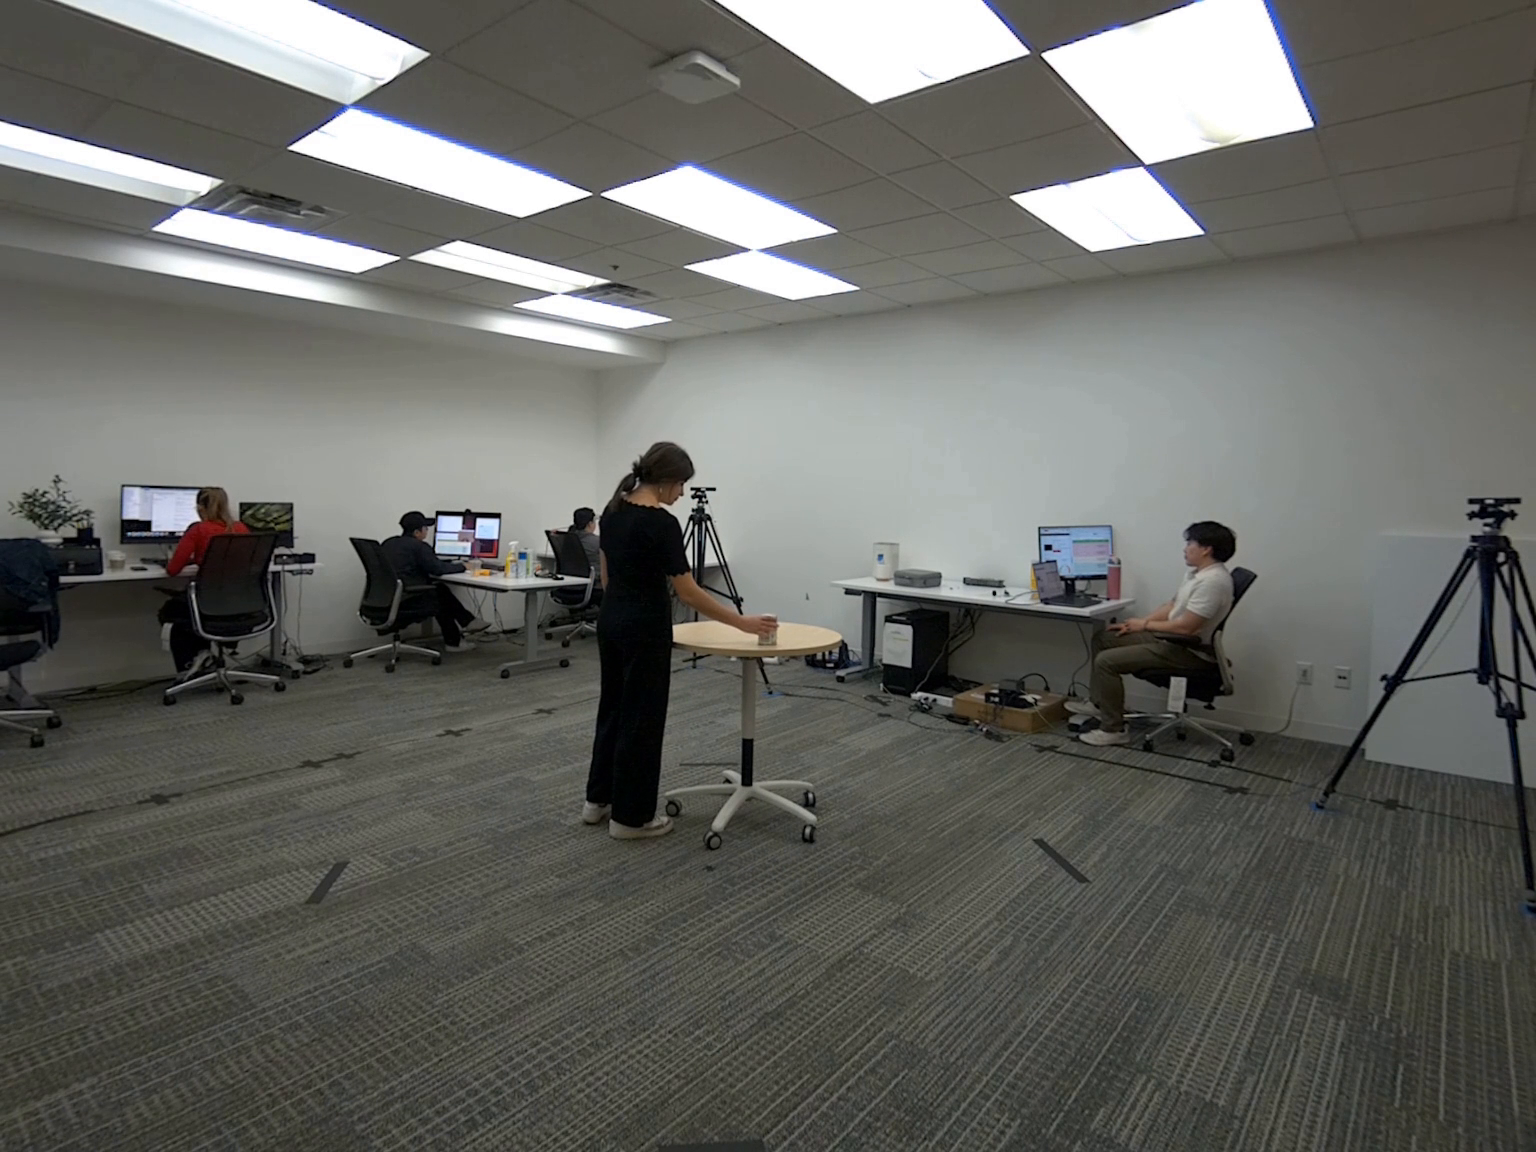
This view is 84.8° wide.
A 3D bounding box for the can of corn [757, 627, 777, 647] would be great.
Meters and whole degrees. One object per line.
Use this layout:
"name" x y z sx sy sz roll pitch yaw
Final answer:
"can of corn" -0.011 0.211 3.325 0.074 0.110 0.075 -1 6 -2
